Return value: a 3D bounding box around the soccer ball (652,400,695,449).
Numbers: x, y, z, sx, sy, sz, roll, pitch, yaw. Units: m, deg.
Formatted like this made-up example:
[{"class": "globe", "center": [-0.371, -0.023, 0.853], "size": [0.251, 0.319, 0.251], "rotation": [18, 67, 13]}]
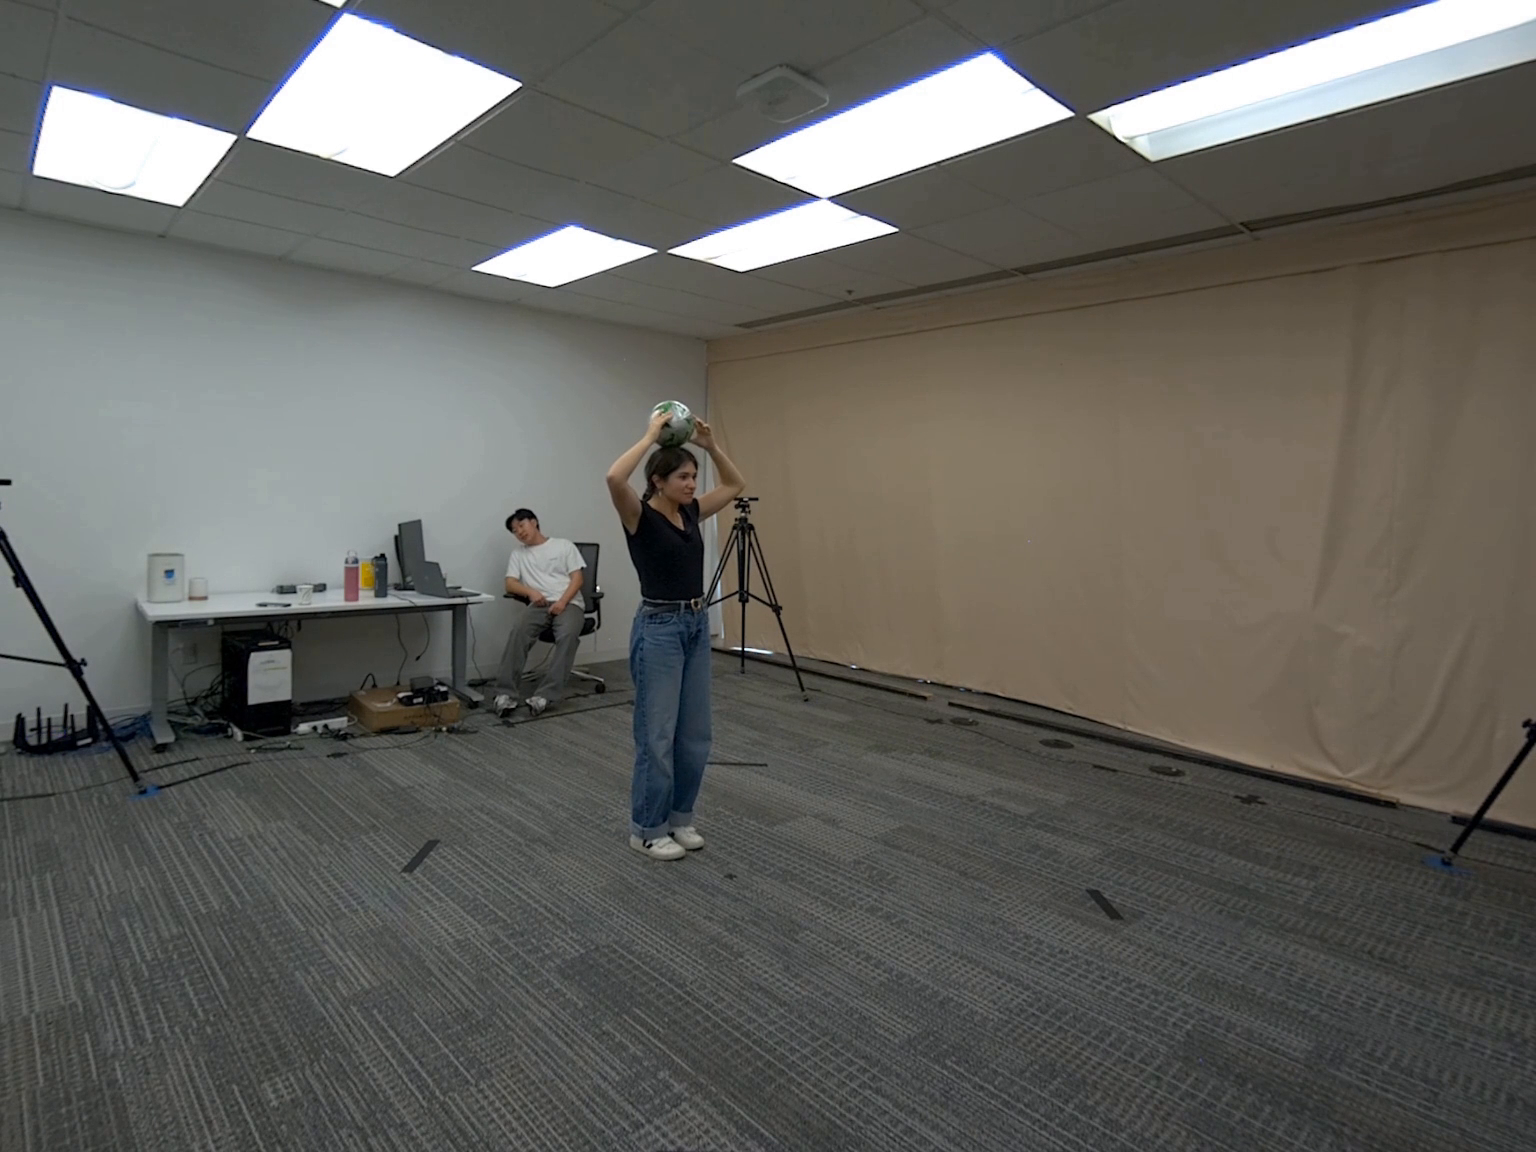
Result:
[{"class": "soccer ball", "center": [-0.386, -0.592, 3.303], "size": [0.187, 0.187, 0.188], "rotation": [1, 4, -1]}]
